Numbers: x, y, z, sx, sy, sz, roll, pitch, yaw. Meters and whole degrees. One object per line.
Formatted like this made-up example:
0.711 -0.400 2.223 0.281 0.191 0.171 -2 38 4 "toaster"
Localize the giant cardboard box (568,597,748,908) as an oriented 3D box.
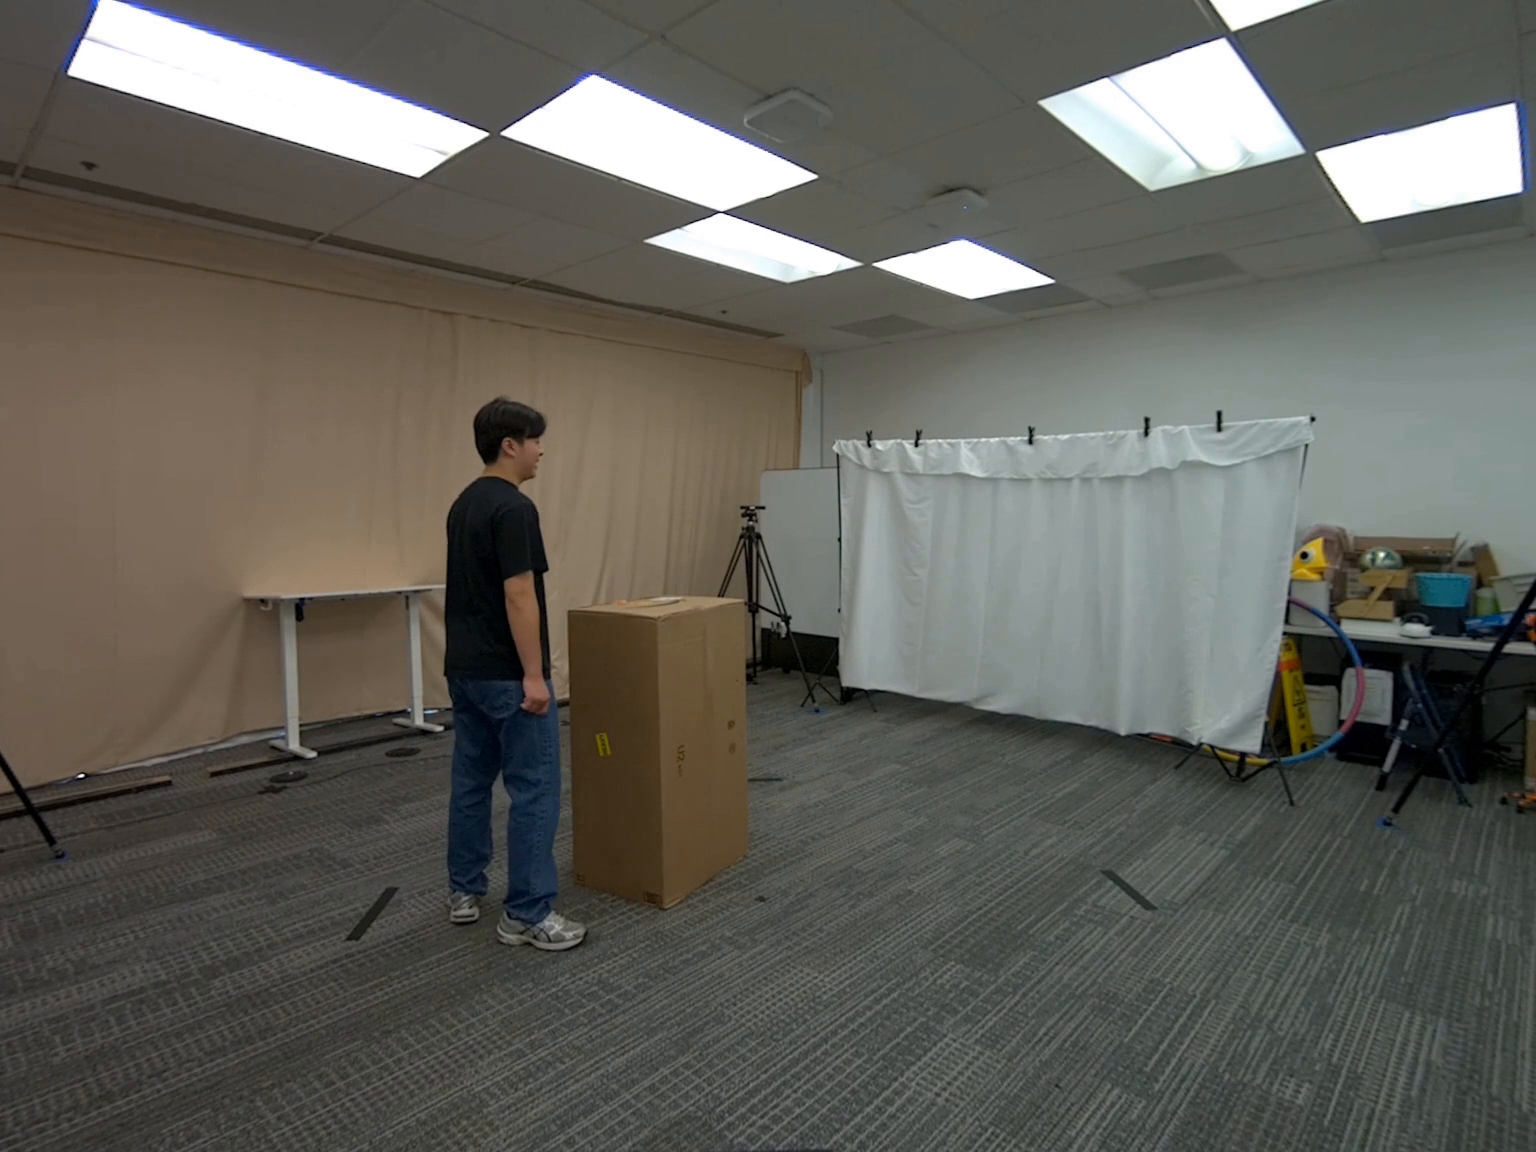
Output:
-0.405 0.614 3.230 0.460 1.025 0.568 0 3 32 "giant cardboard box"
